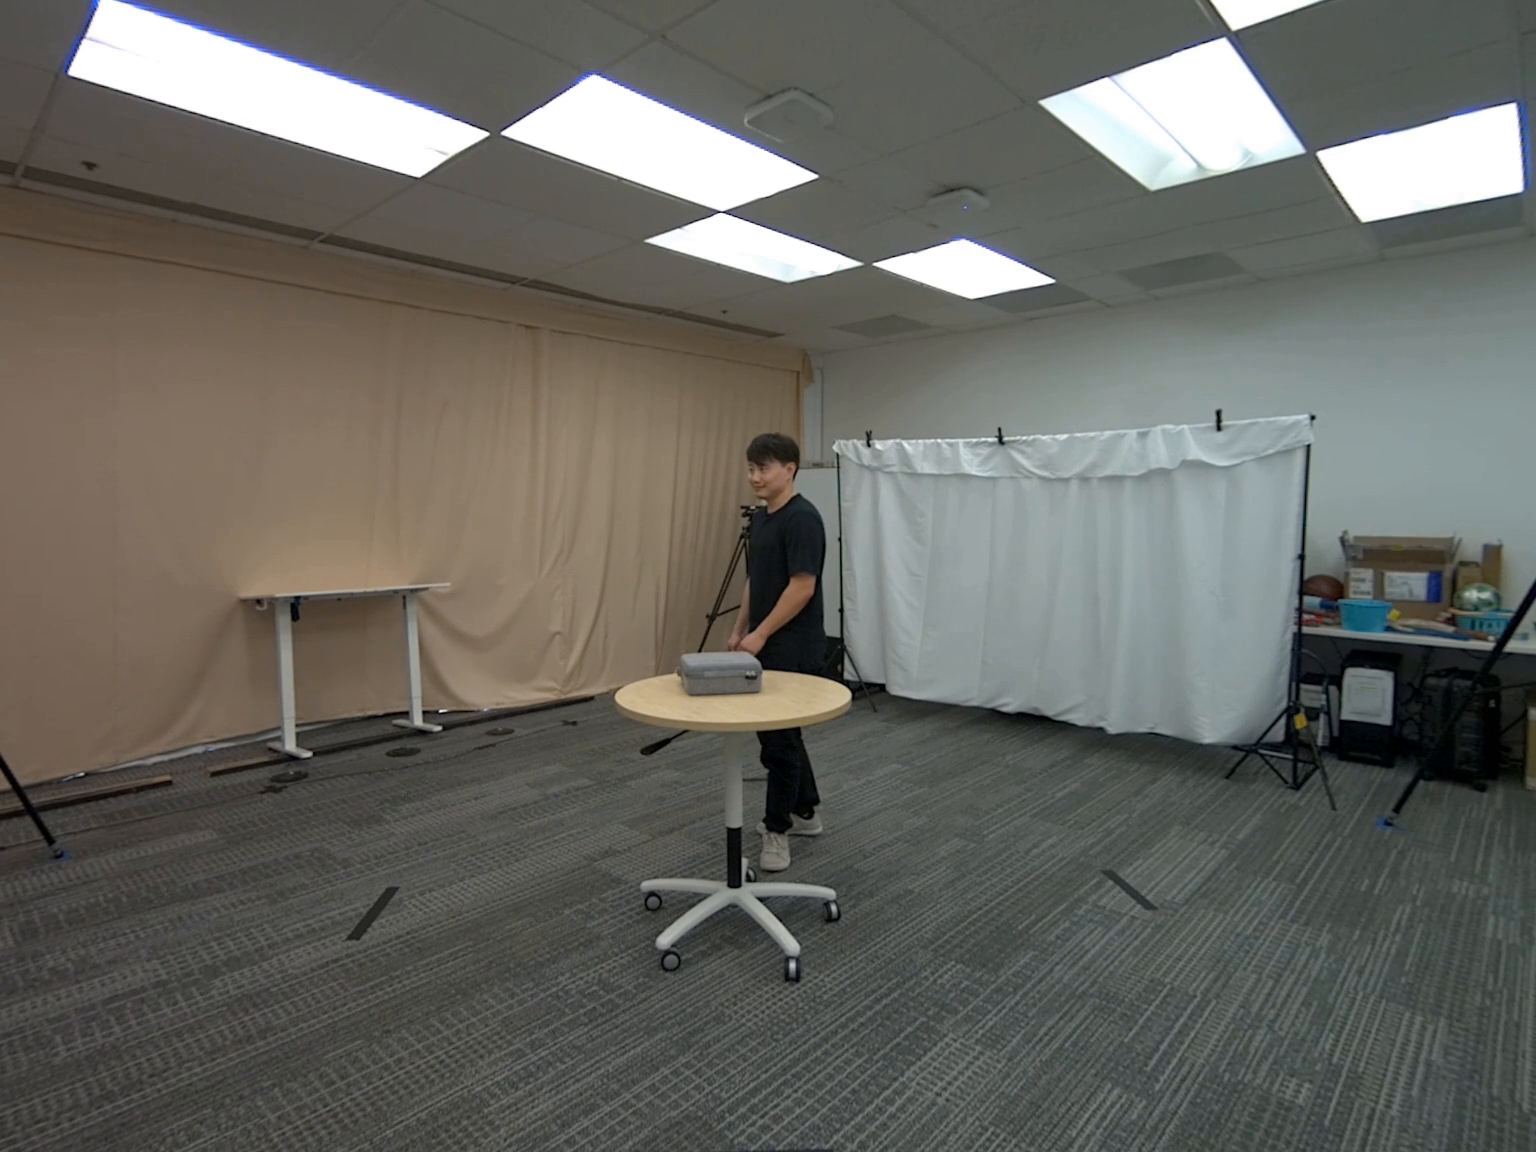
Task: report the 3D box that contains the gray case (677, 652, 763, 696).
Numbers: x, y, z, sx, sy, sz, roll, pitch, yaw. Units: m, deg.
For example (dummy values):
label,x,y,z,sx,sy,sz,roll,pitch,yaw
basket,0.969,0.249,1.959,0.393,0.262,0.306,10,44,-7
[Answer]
label,x,y,z,sx,sy,sz,roll,pitch,yaw
gray case,-0.163,0.323,2.835,0.254,0.104,0.264,-3,4,-10
